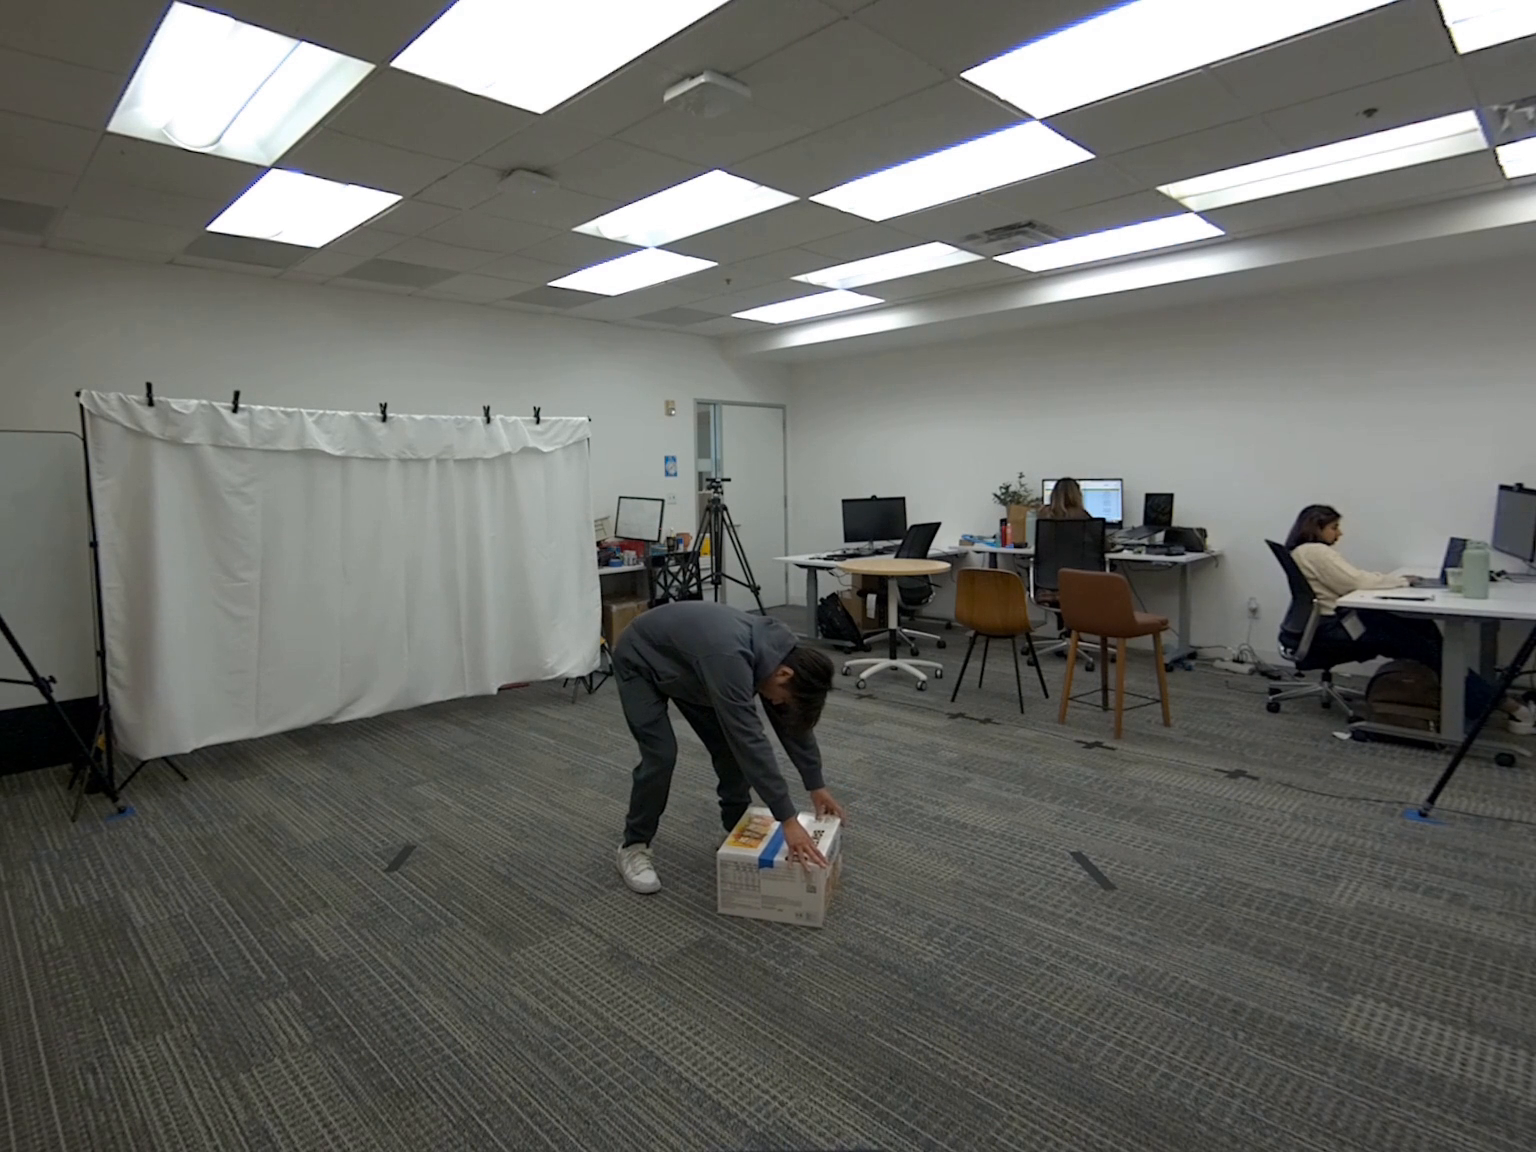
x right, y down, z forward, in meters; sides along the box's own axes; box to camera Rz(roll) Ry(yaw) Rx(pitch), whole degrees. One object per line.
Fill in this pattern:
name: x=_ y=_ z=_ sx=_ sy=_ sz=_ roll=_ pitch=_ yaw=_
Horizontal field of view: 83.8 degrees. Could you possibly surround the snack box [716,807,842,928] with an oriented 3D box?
snack box: x=0.055 y=0.968 z=2.877 sx=0.346 sy=0.205 sz=0.401 roll=0 pitch=7 yaw=16
